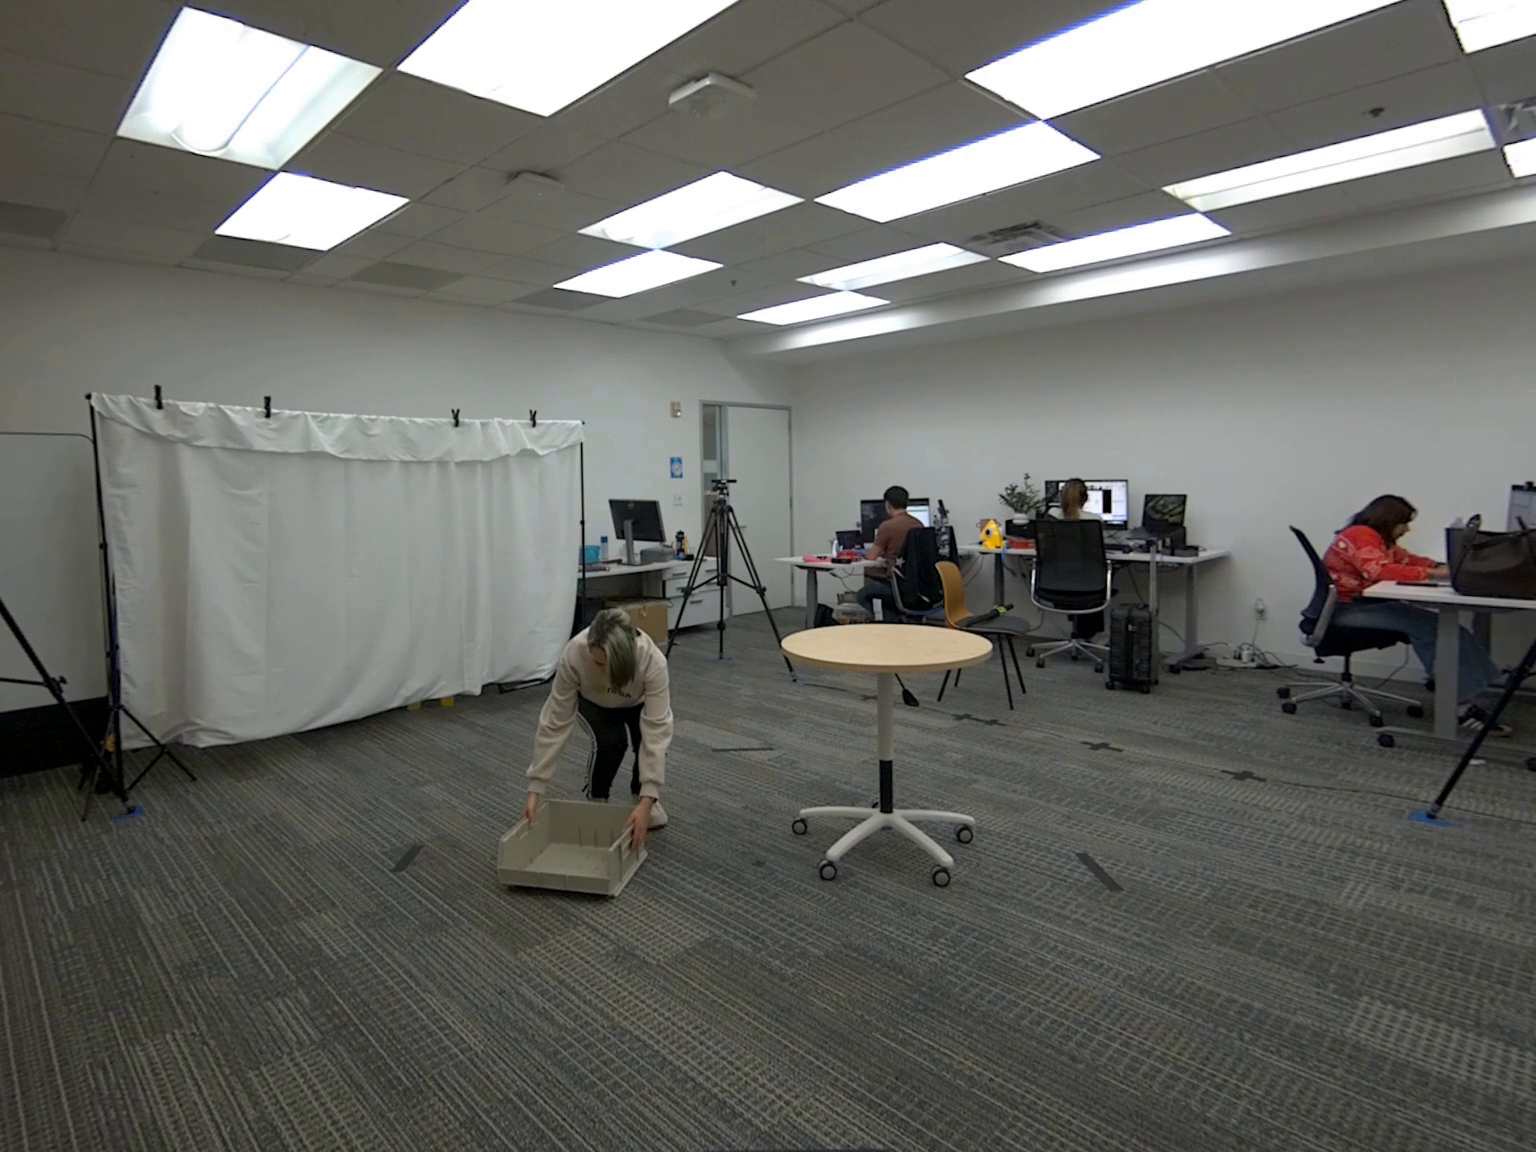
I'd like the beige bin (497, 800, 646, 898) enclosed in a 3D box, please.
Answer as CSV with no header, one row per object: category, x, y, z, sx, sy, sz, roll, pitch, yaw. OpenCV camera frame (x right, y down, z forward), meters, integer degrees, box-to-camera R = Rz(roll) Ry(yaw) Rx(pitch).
beige bin,-0.687,0.971,3.050,0.428,0.188,0.375,-1,8,14
